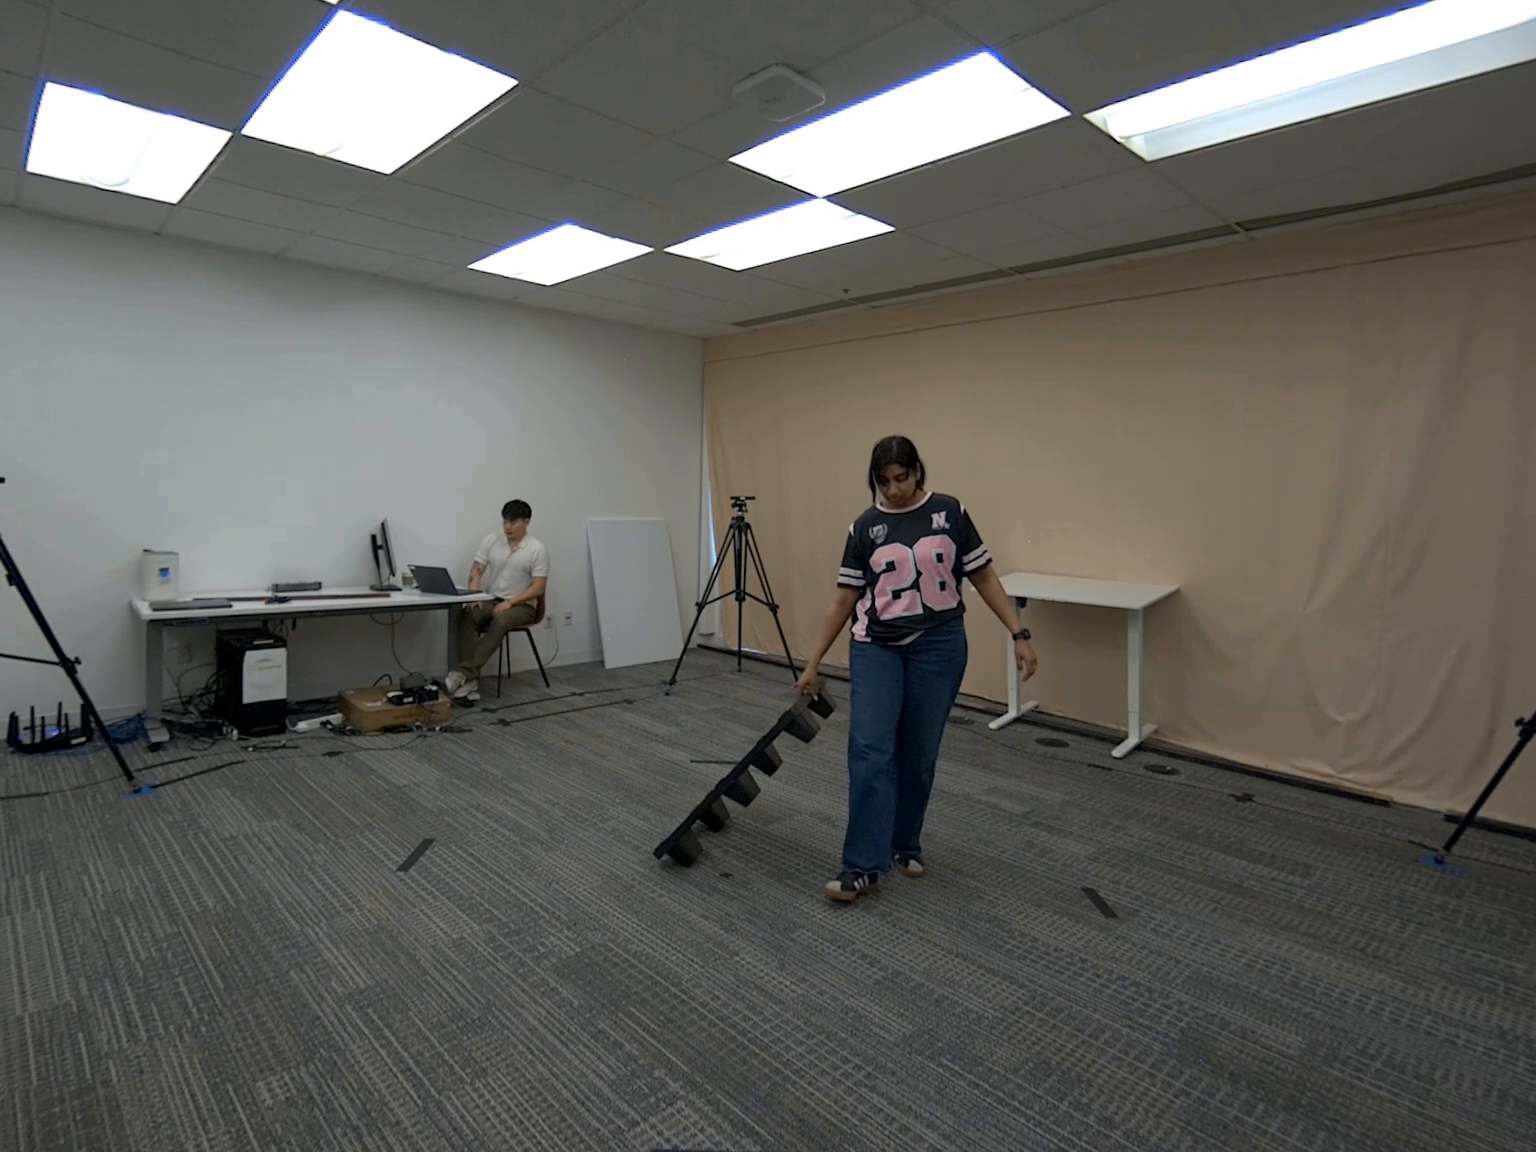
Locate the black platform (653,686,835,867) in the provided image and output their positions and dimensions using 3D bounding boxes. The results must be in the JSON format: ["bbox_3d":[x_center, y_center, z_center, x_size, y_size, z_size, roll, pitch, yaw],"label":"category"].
[{"bbox_3d":[-0.059,0.770,3.313,0.145,0.805,0.599,43,13,8],"label":"black platform"}]
